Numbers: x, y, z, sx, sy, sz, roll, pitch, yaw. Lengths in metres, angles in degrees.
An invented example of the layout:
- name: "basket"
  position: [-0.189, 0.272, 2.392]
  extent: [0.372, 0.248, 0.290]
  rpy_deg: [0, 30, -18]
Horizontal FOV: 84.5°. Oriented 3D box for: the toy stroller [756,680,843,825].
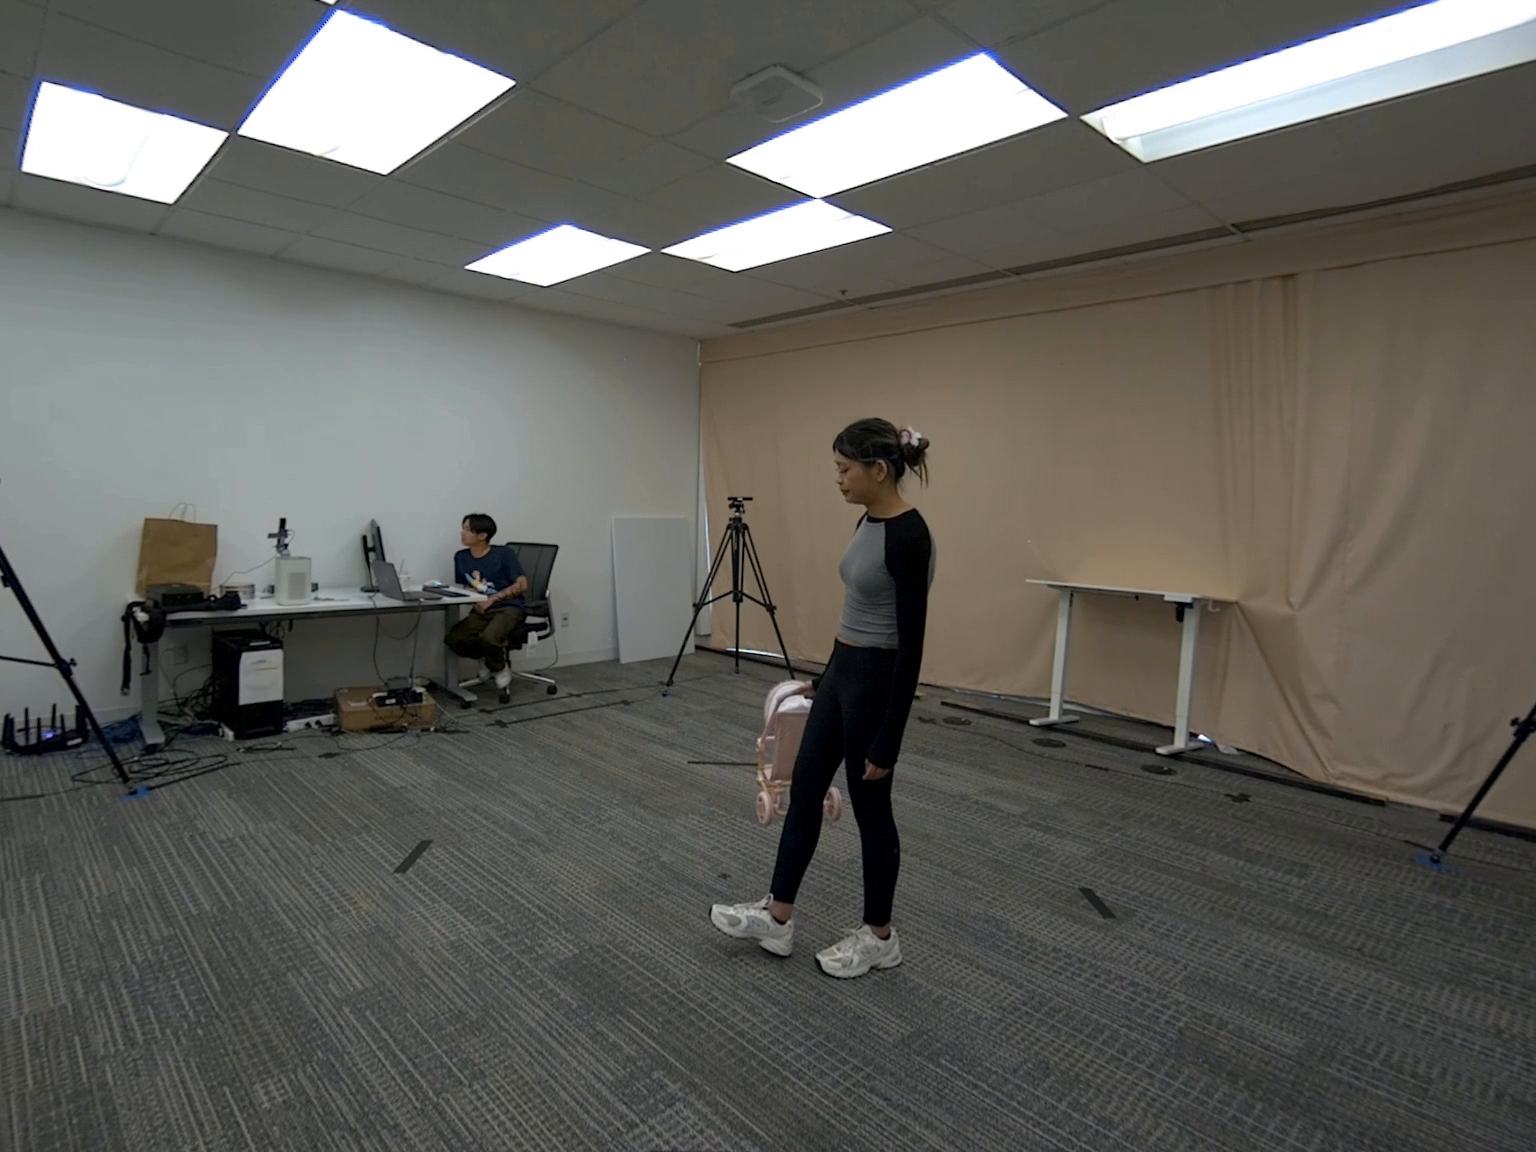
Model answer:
- name: "toy stroller"
  position: [0.076, 0.606, 2.920]
  extent: [0.279, 0.532, 0.346]
  rpy_deg: [1, 7, -12]
